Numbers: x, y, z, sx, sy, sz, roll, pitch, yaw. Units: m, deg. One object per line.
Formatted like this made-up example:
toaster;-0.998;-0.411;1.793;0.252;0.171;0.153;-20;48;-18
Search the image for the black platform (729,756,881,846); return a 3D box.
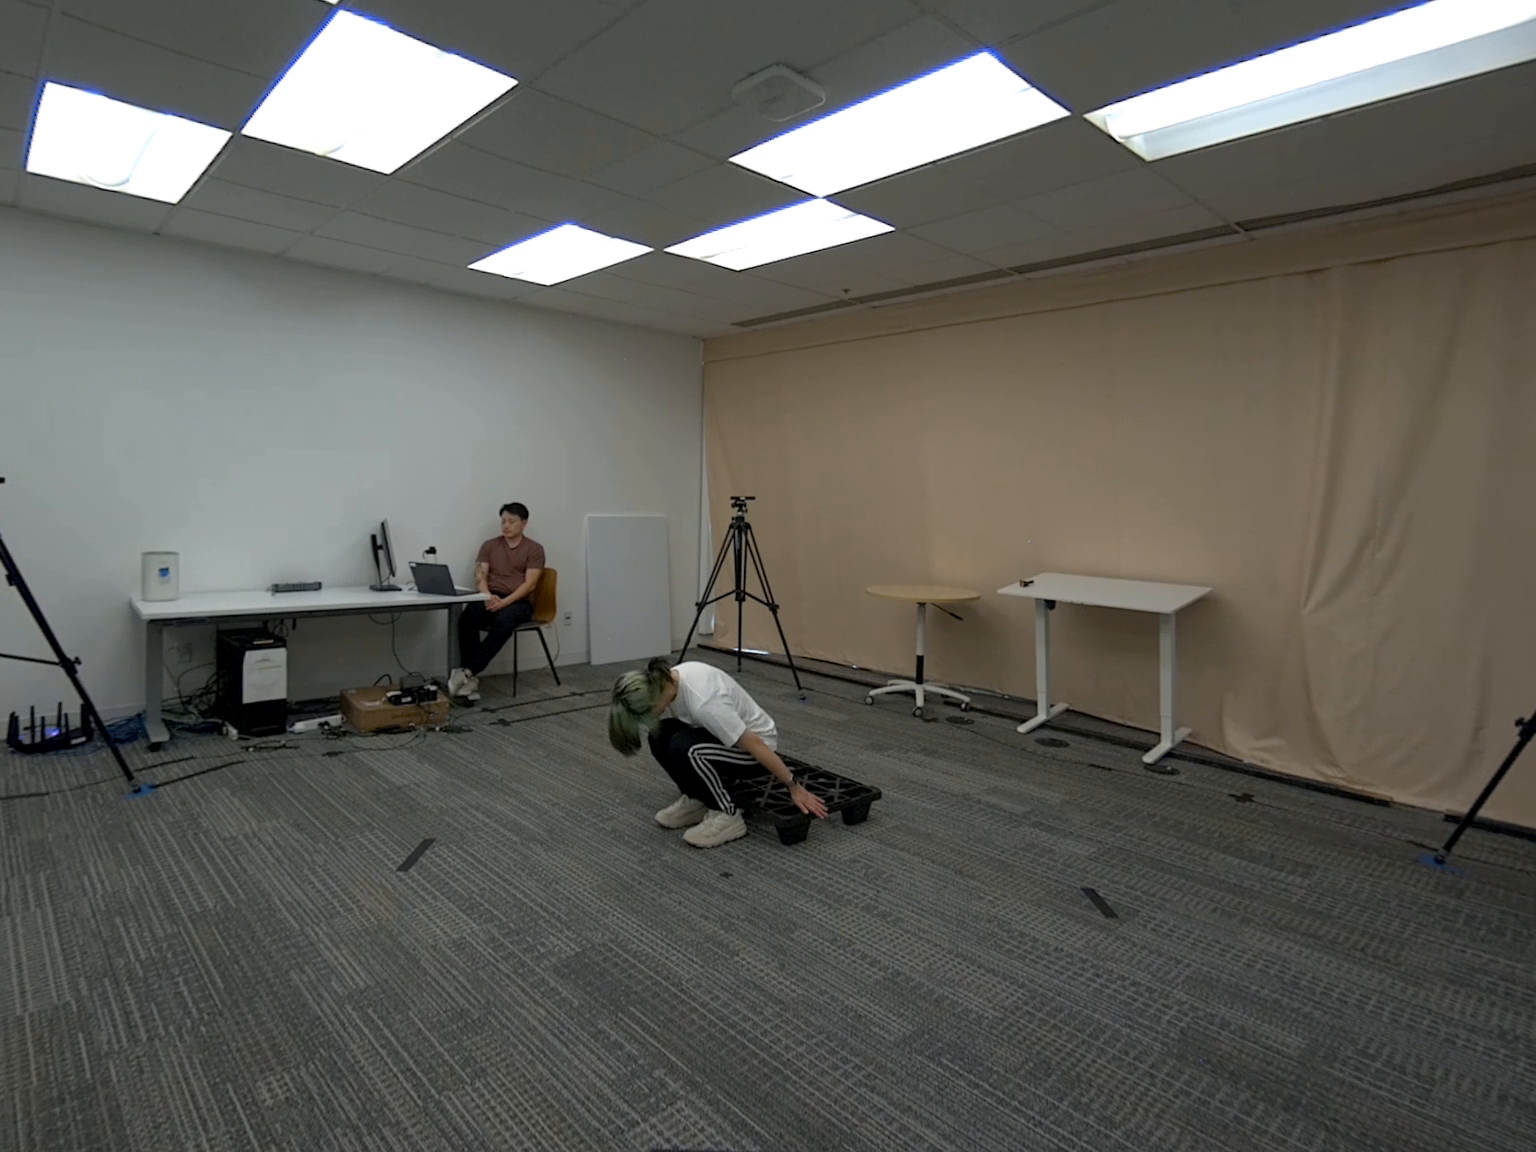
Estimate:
black platform;0.009;0.979;3.804;0.592;0.143;0.826;-3;7;-40
